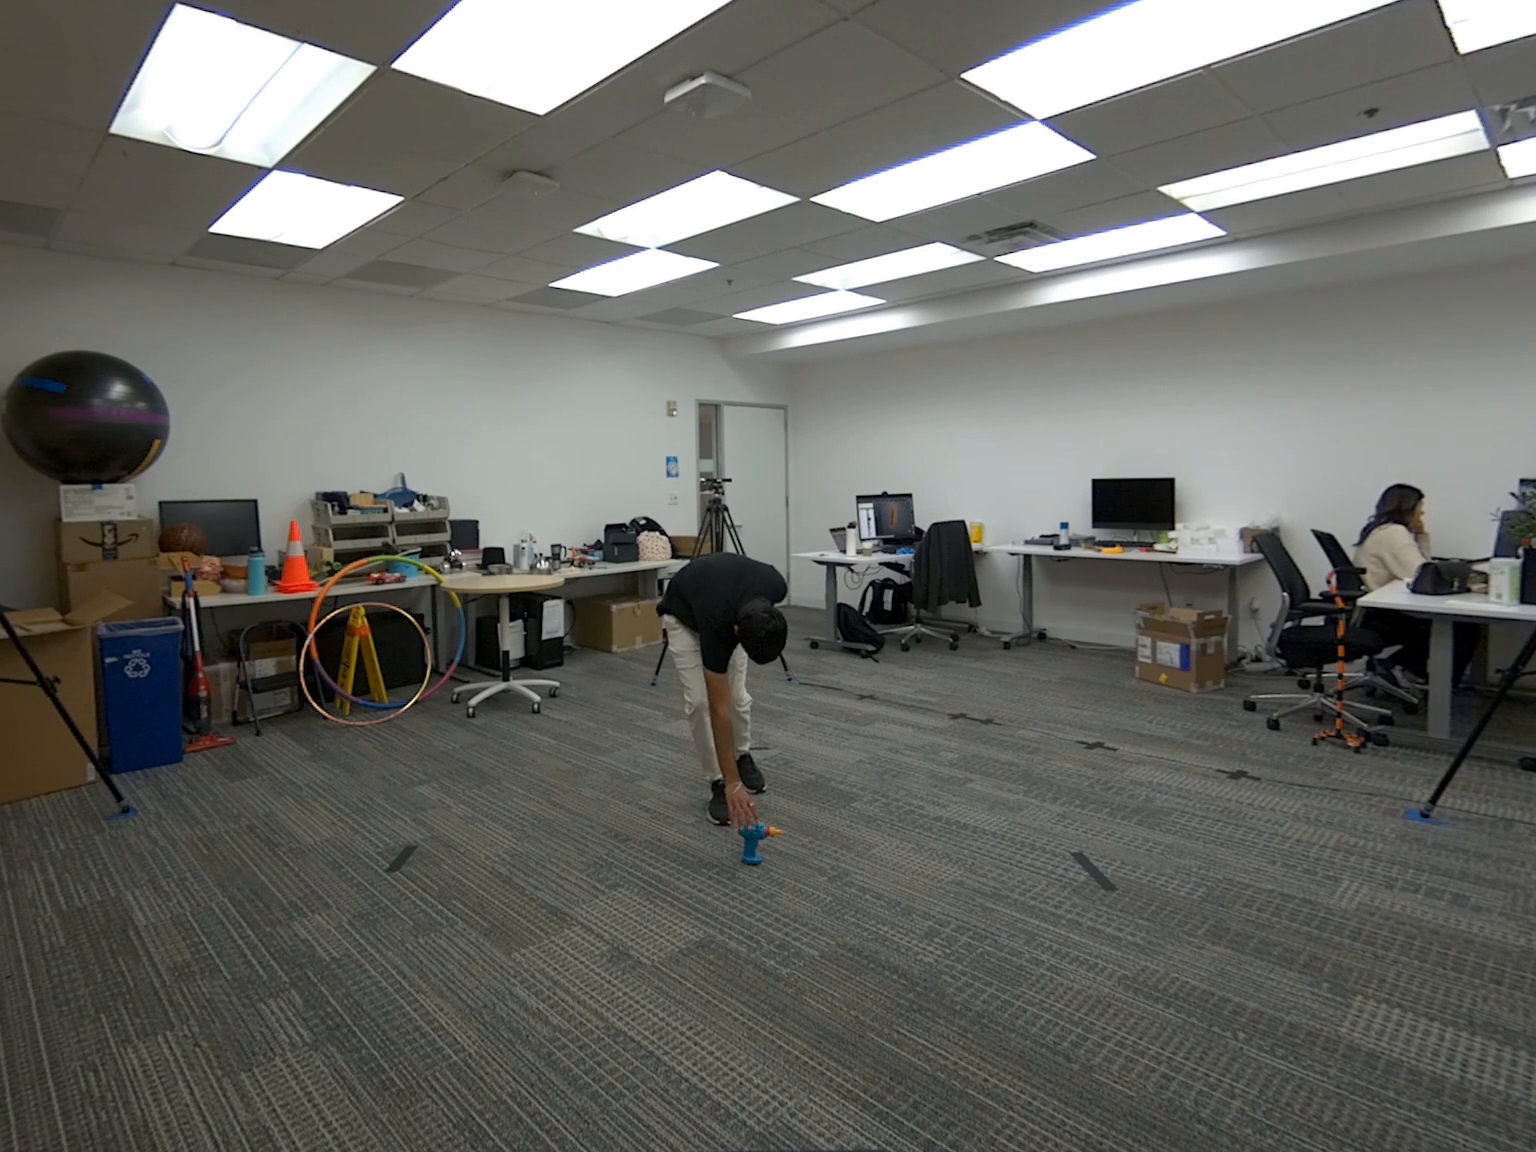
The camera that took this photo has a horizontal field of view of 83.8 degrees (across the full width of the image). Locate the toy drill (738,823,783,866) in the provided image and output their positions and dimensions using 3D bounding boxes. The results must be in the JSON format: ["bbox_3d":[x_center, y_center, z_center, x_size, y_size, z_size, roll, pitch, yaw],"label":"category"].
[{"bbox_3d":[-0.027,0.963,3.107,0.170,0.145,0.061,-1,6,1],"label":"toy drill"}]
